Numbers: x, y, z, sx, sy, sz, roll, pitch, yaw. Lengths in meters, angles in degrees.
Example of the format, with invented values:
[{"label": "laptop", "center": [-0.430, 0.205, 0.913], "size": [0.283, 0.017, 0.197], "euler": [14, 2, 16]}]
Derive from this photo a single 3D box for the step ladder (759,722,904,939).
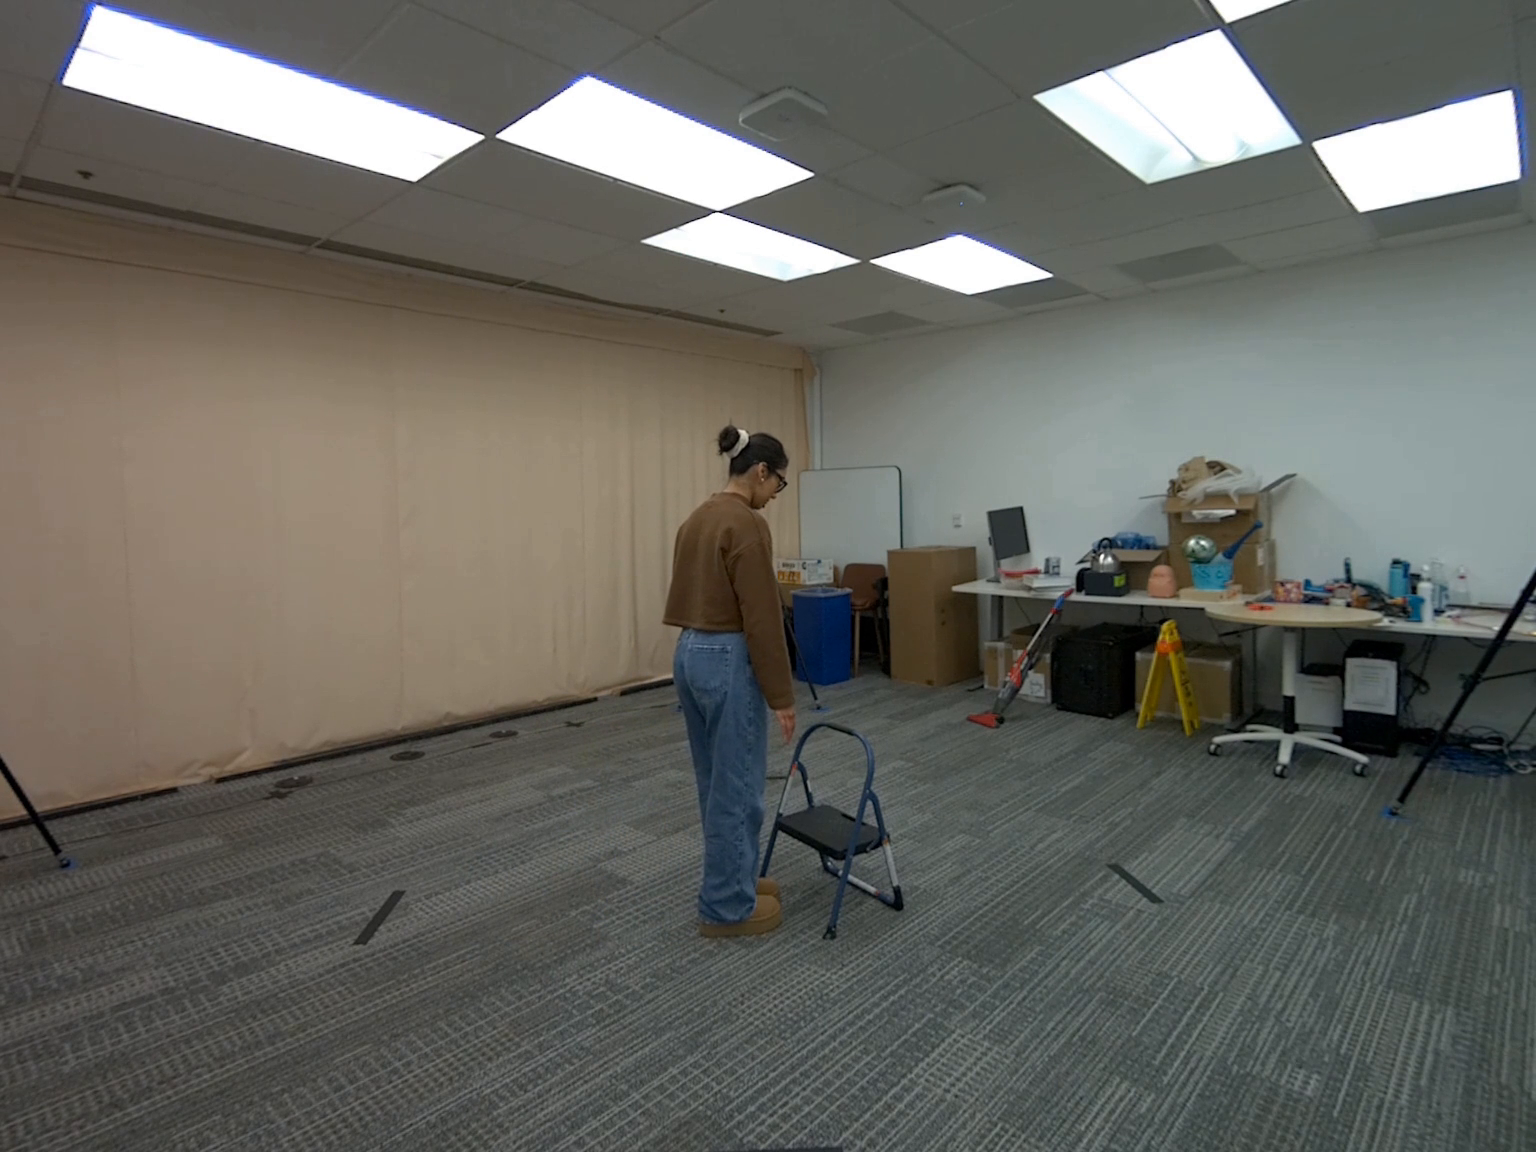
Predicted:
[{"label": "step ladder", "center": [0.205, 0.836, 2.938], "size": [0.339, 0.605, 0.444], "euler": [-4, 4, -35]}]
